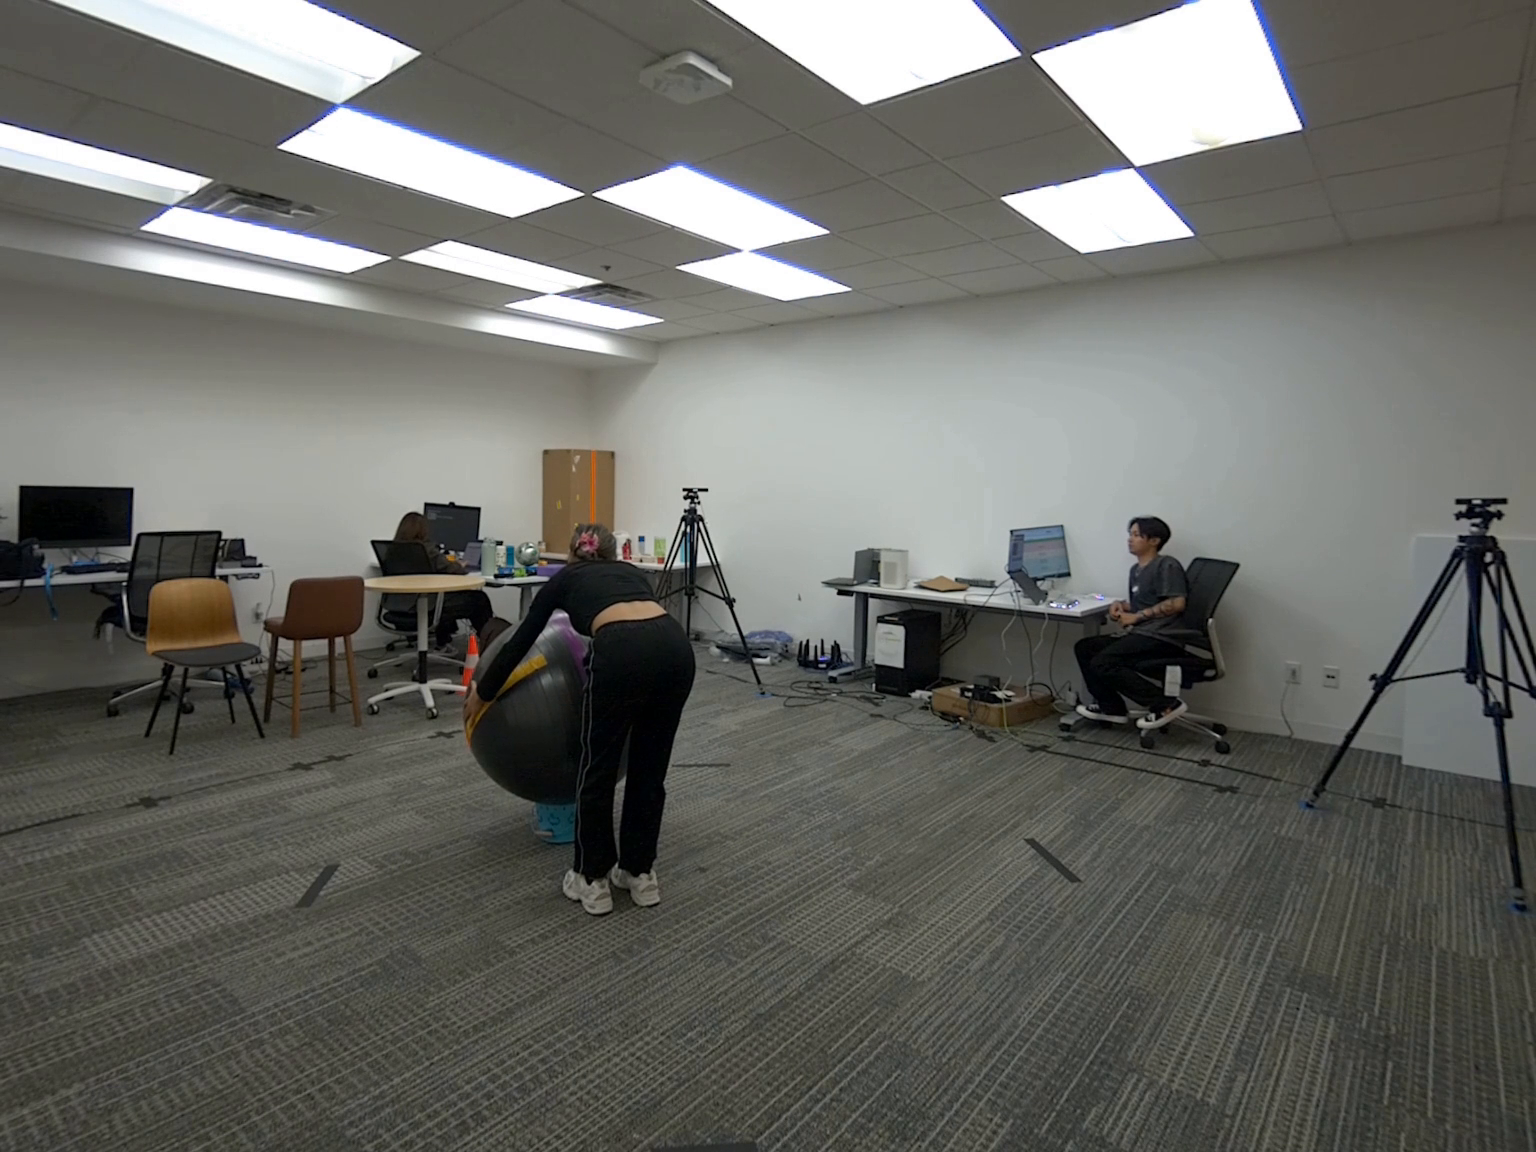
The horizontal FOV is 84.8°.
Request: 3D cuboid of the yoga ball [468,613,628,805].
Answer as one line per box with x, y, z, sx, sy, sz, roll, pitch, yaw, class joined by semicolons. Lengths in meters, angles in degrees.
-0.838;0.519;3.401;0.757;0.755;0.762;1;4;-2;yoga ball
